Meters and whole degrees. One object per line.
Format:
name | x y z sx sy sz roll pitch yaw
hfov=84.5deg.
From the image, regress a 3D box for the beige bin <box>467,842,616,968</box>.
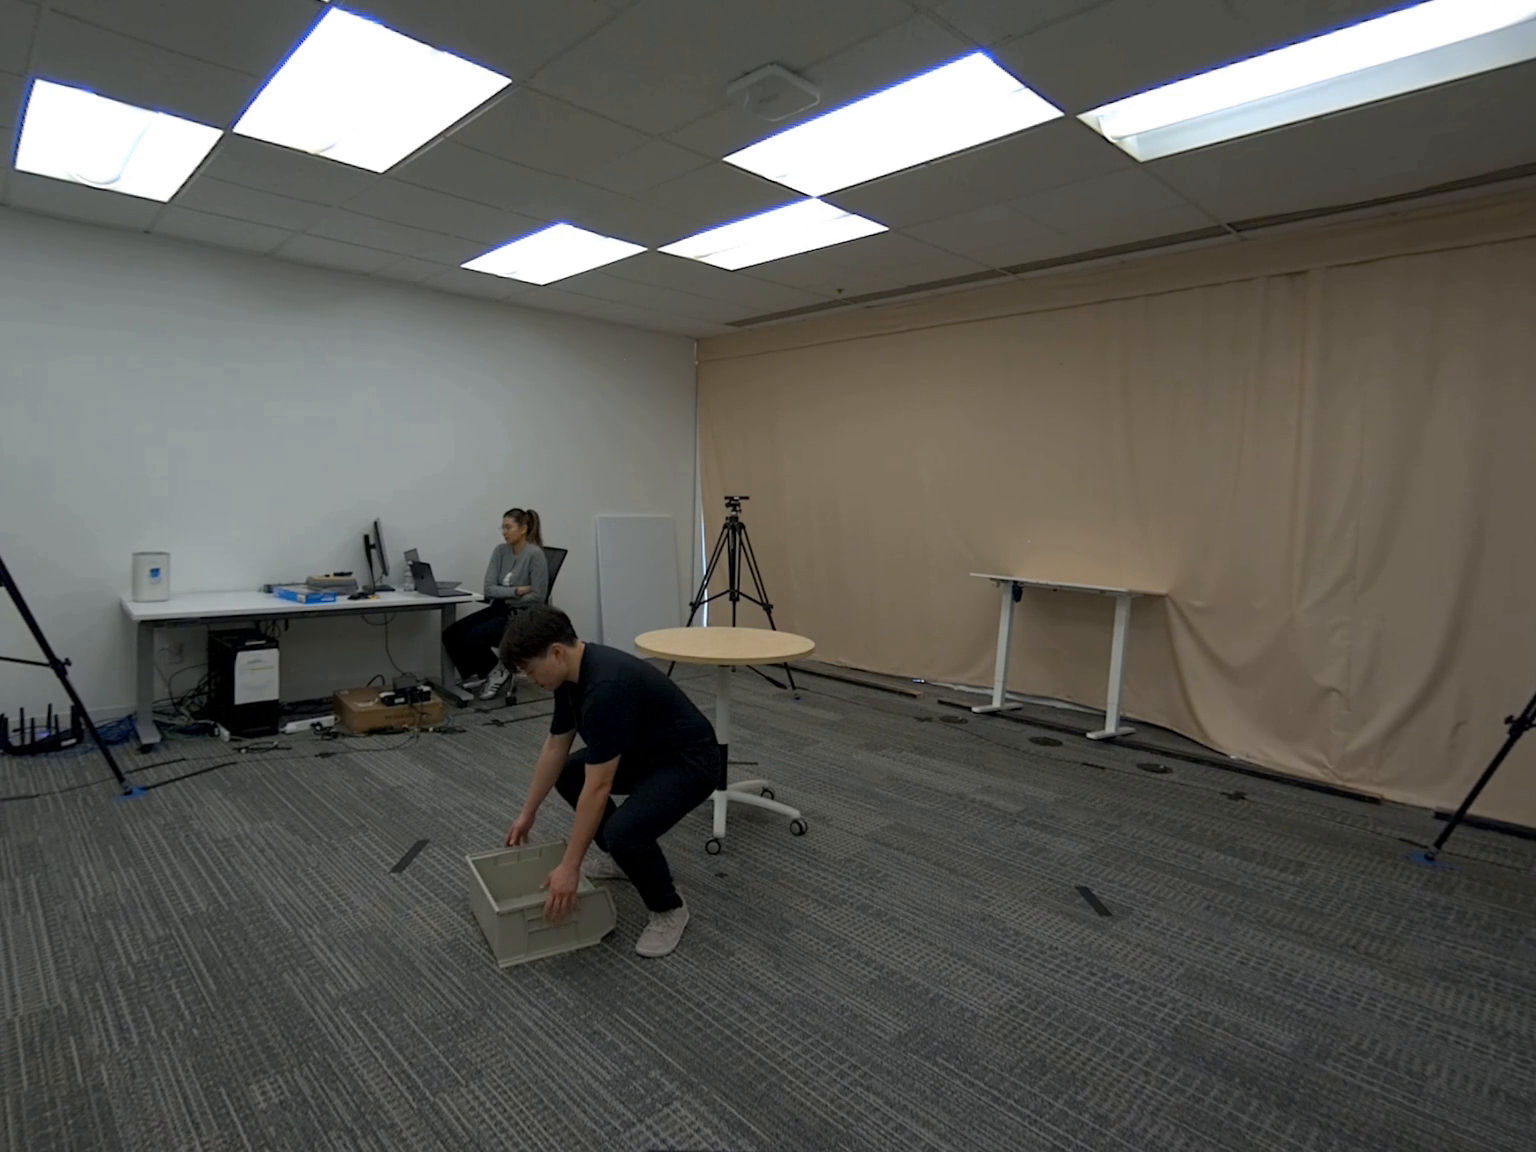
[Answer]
beige bin | -0.754 1.040 2.716 0.370 0.188 0.432 -3 7 -31
